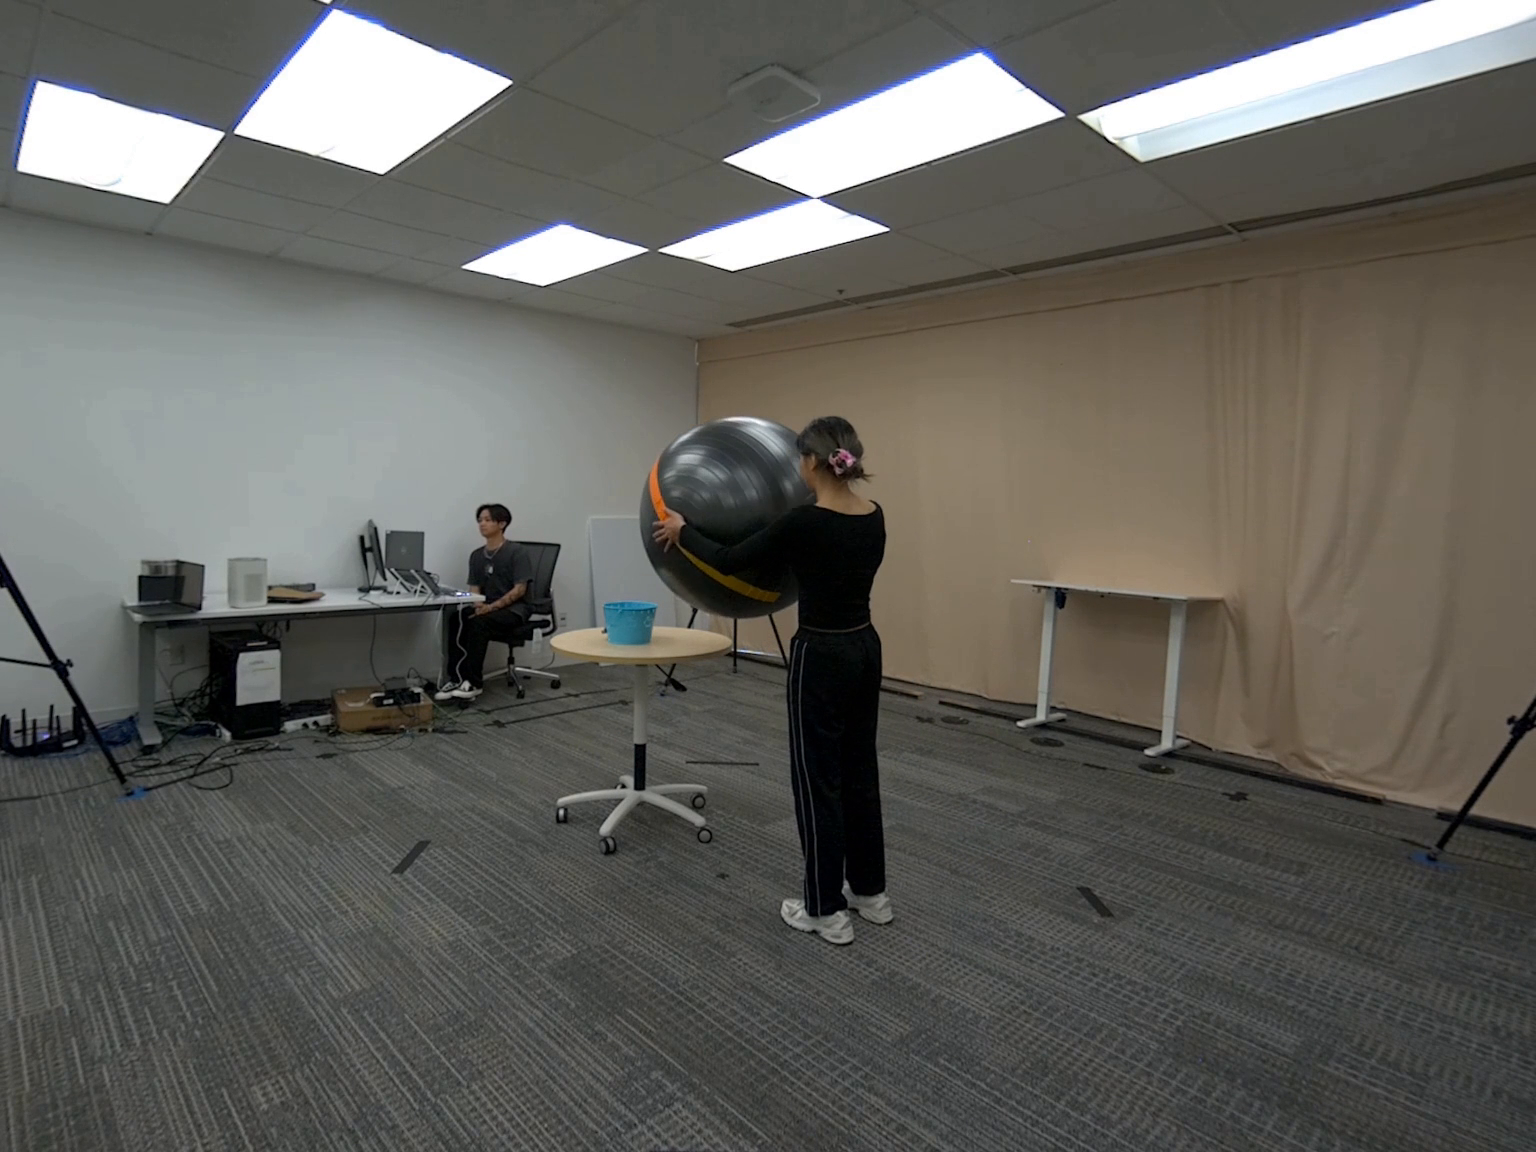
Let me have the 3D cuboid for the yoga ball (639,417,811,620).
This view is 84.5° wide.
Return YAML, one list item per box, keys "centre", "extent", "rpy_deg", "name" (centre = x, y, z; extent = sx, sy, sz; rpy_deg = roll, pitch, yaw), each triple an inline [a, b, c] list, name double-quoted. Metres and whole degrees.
- centre: [-0.104, -0.215, 3.174]
  extent: [0.757, 0.756, 0.761]
  rpy_deg: [1, 4, -1]
  name: "yoga ball"
